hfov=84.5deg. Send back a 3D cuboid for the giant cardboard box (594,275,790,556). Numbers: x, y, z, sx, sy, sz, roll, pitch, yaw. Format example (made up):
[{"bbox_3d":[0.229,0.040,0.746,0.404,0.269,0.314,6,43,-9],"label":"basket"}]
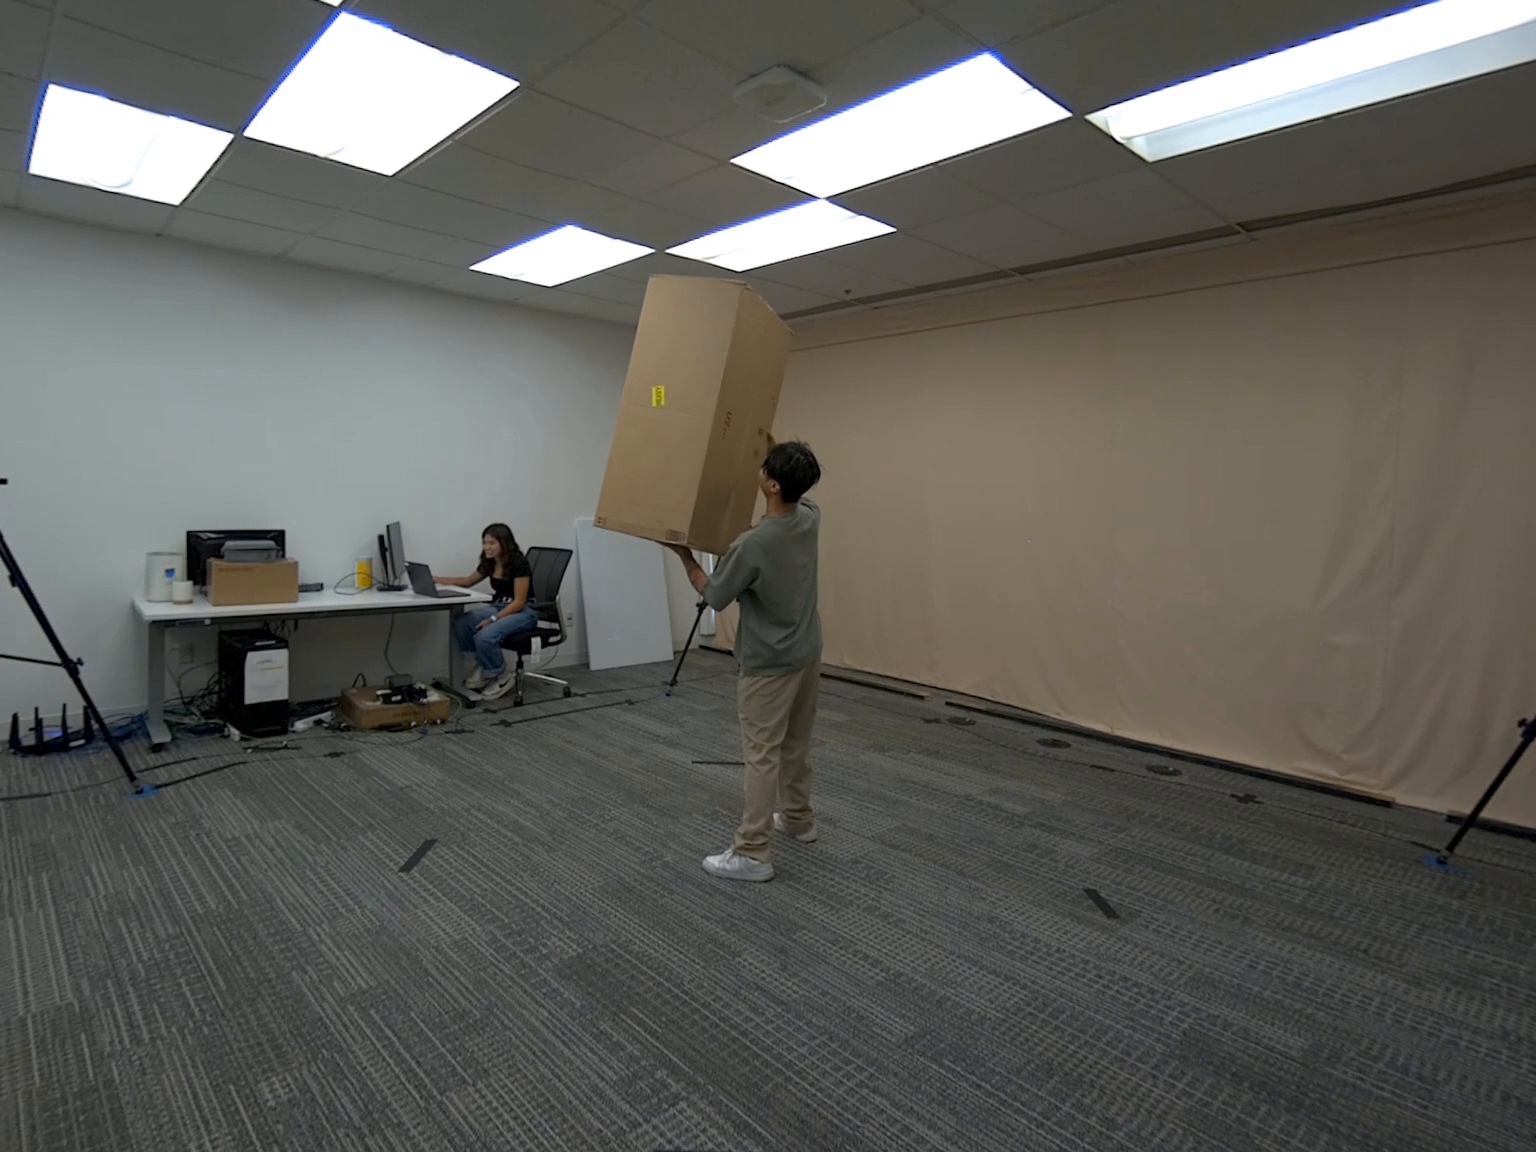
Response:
[{"bbox_3d":[-0.293,-0.623,3.487,0.435,1.026,0.566,12,-1,22],"label":"giant cardboard box"}]
